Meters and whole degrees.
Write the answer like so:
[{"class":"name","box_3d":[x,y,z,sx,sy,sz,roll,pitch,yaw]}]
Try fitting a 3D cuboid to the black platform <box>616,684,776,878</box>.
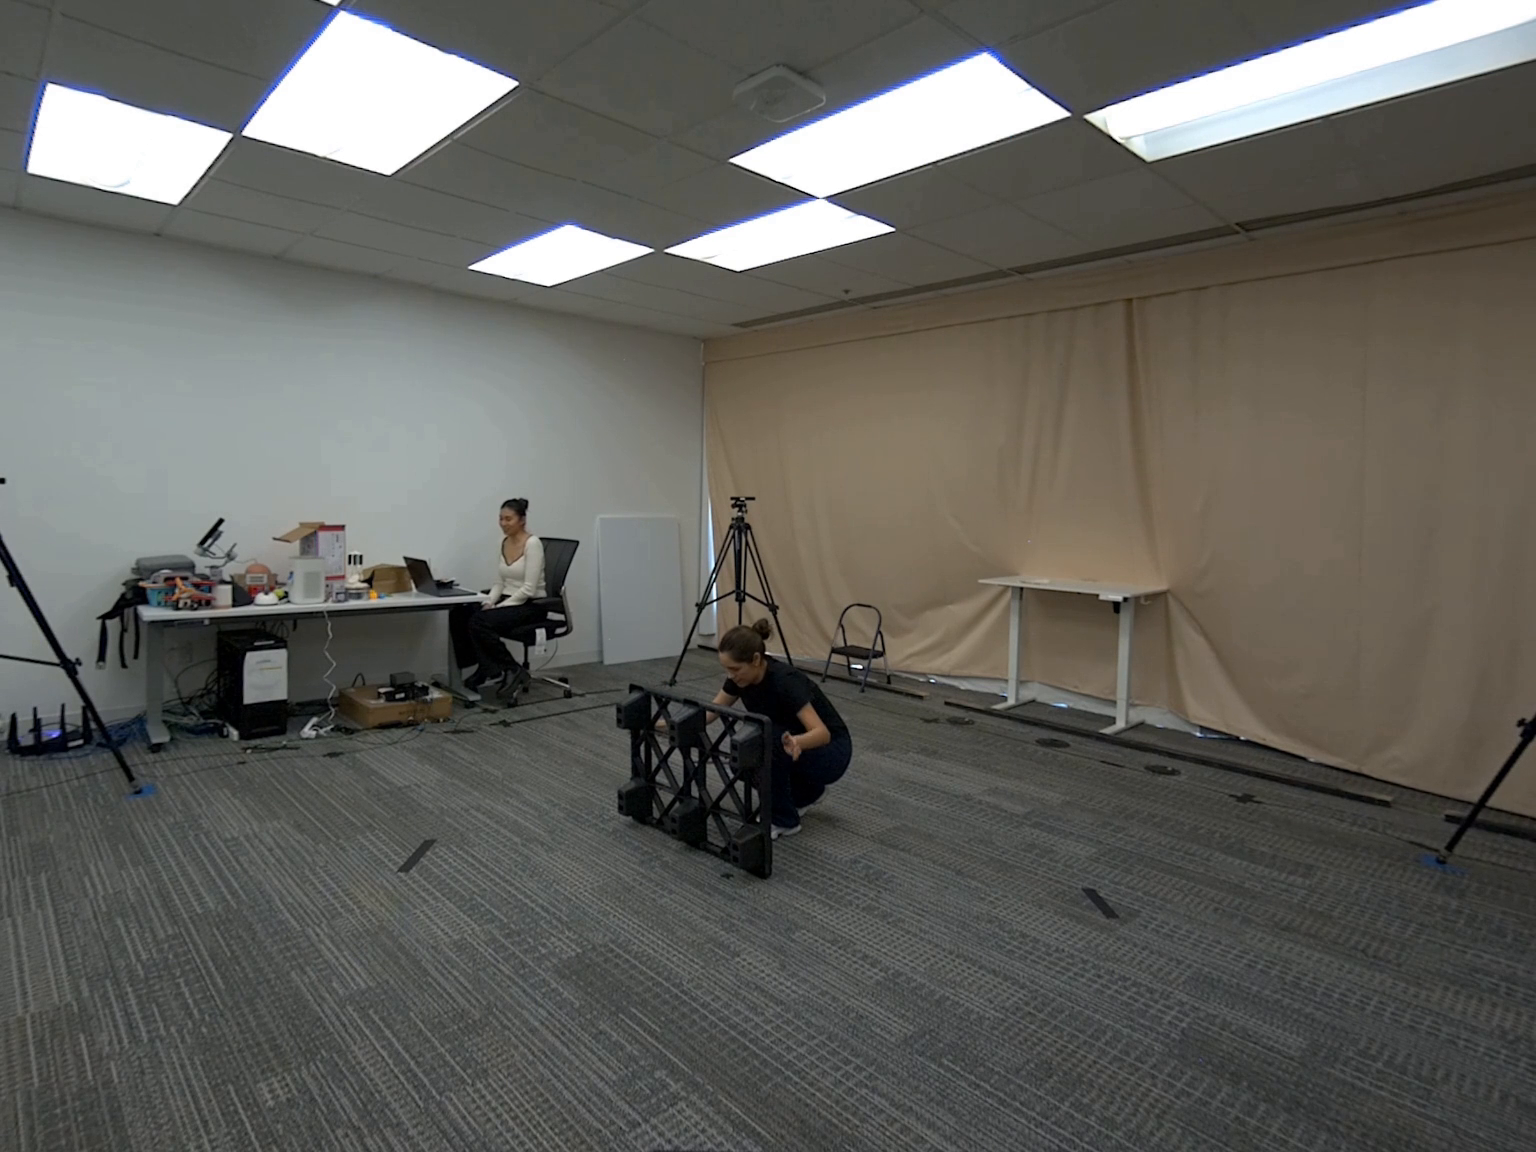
[{"class":"black platform","box_3d":[-0.326,0.790,3.296,0.826,0.603,0.140,5,7,44]}]
